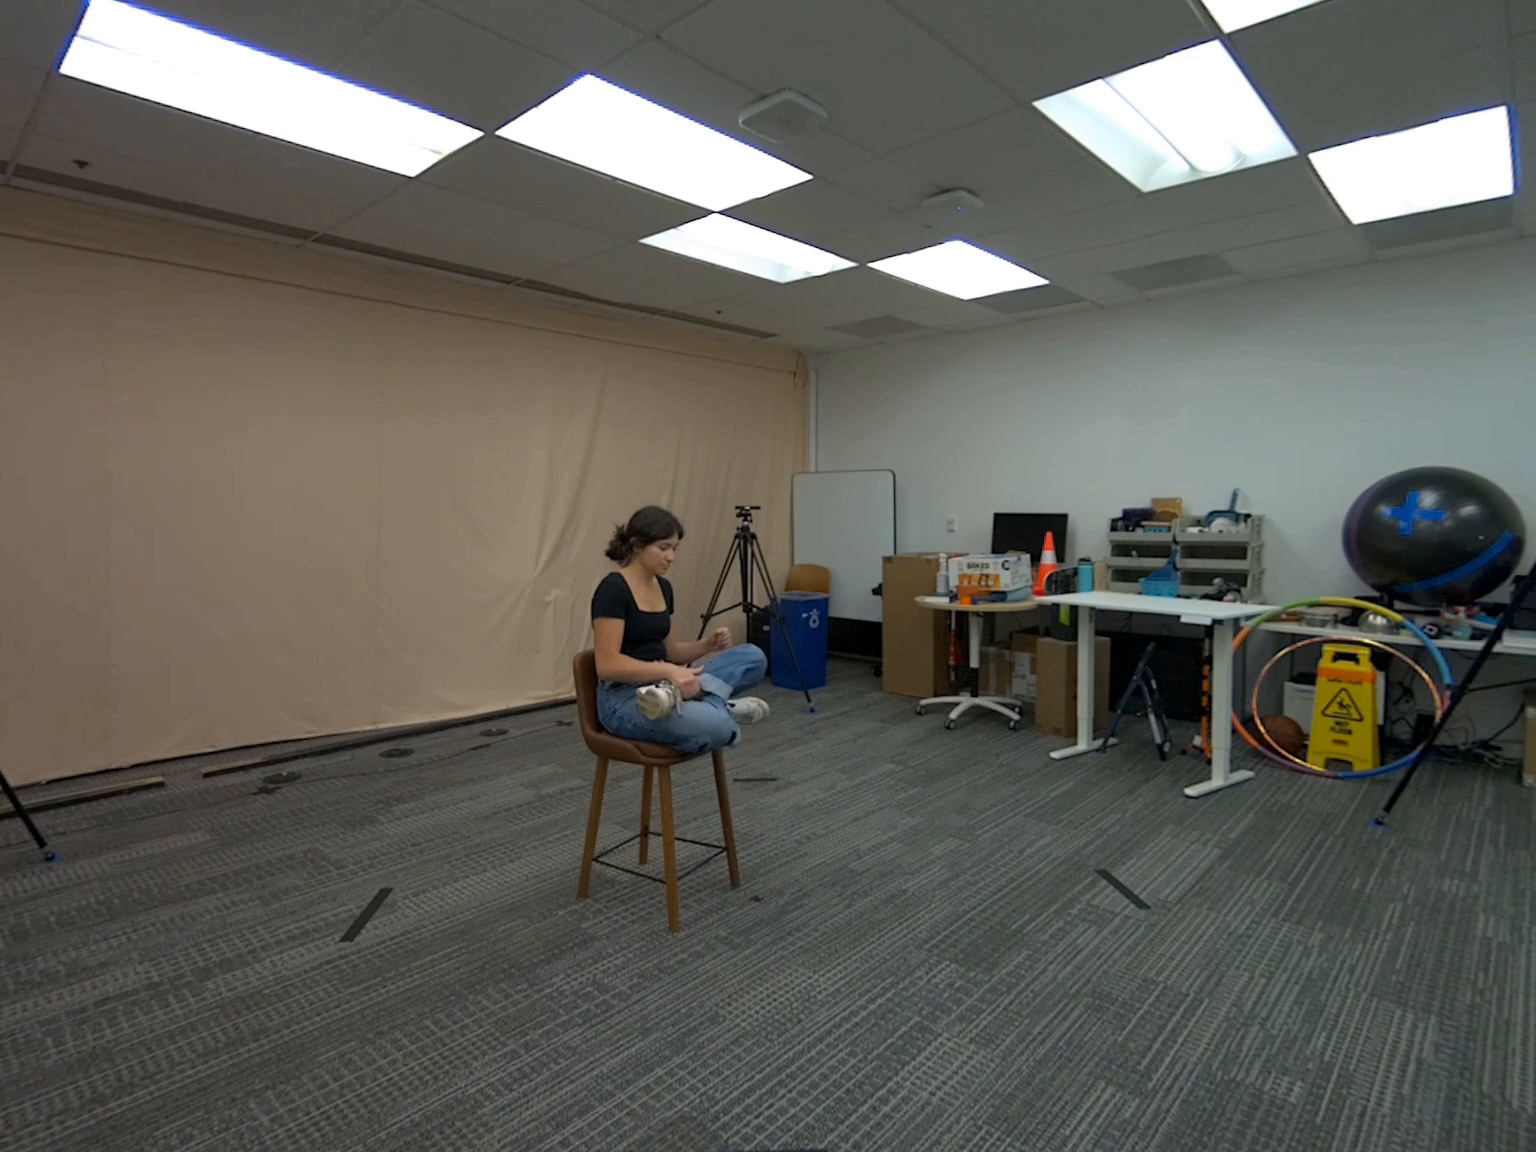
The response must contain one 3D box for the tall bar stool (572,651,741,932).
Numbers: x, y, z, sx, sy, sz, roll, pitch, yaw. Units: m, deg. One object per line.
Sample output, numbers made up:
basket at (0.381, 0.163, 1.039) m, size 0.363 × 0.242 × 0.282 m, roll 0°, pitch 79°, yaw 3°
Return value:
tall bar stool at (-0.406, 0.710, 3.025) m, size 0.481 × 0.888 × 0.444 m, roll -1°, pitch 2°, yaw 33°
